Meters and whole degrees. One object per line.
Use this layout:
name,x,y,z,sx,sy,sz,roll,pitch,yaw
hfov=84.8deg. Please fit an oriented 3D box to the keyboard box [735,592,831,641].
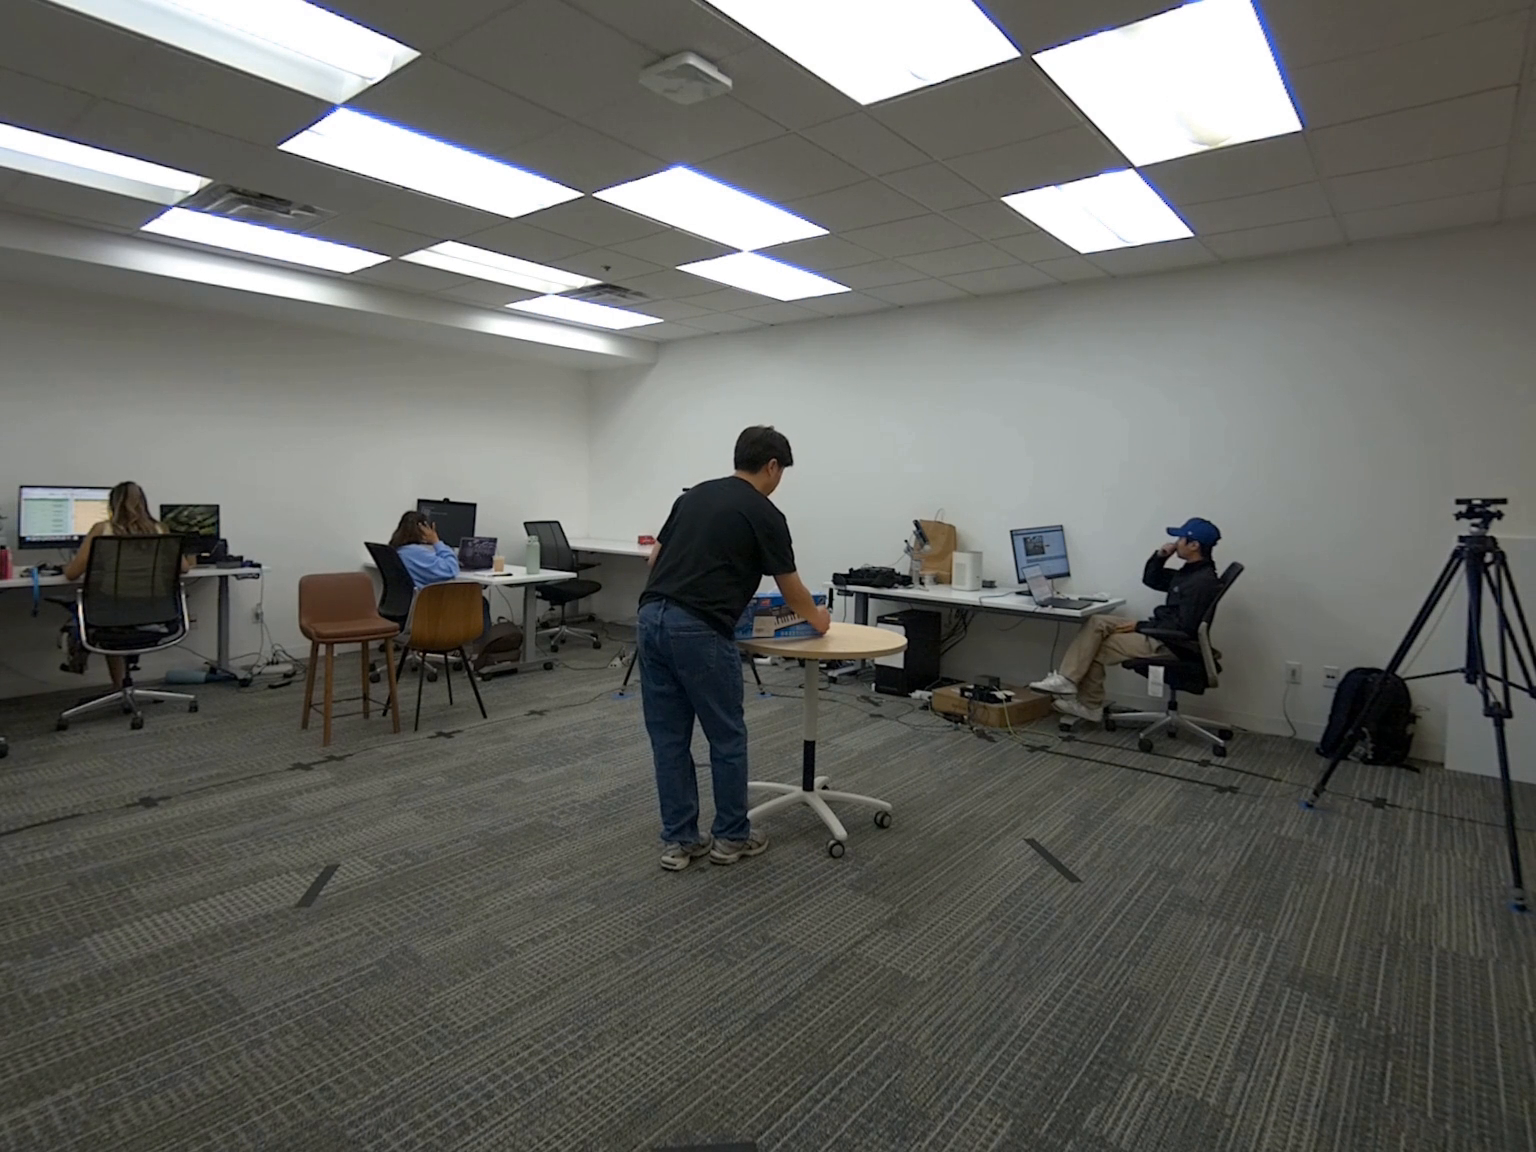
keyboard box,0.031,0.161,3.443,0.426,0.175,0.061,-1,5,-26
